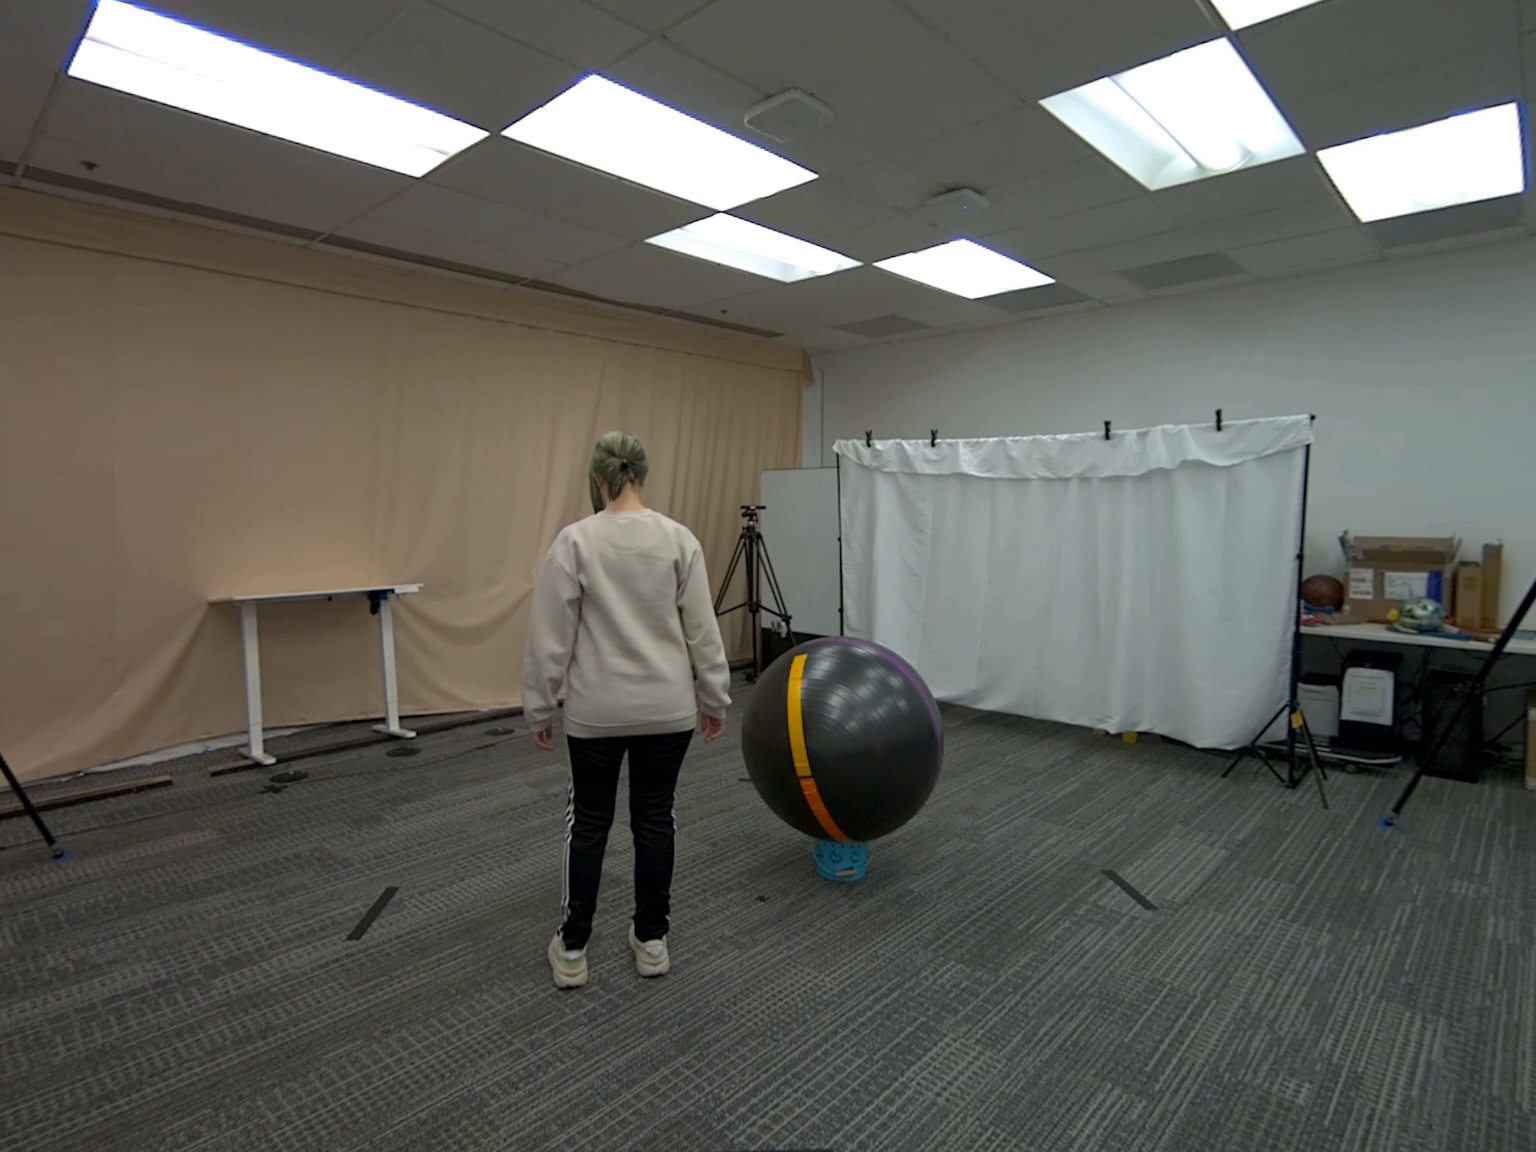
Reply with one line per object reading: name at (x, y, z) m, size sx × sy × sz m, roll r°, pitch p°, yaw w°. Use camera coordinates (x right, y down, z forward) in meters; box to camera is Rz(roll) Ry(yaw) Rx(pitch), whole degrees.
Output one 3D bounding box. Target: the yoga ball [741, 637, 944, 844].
yoga ball at (0.276, 0.611, 3.189) m, size 0.757 × 0.756 × 0.761 m, roll 0°, pitch 4°, yaw -2°
